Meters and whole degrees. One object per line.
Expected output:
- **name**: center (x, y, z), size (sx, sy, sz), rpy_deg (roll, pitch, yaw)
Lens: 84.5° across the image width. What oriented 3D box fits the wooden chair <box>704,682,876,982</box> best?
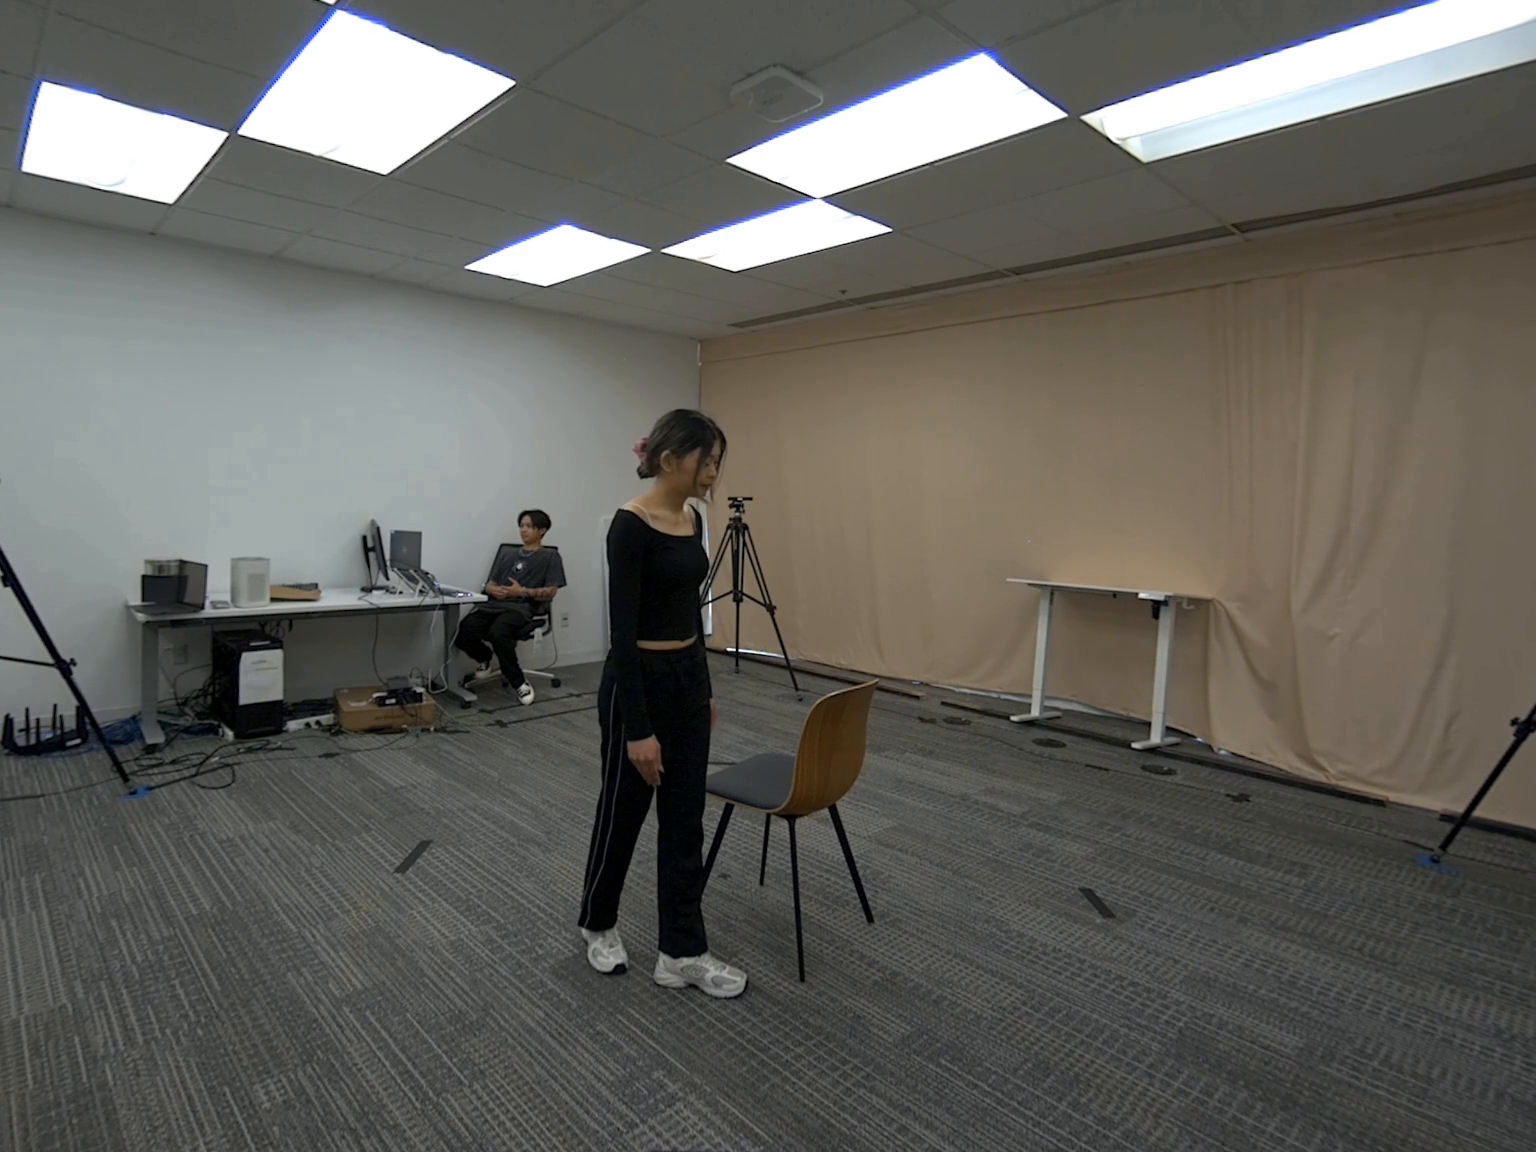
- **wooden chair**: center (0.040, 0.720, 2.716), size (0.536, 0.874, 0.468), rpy_deg (10, 8, 35)
